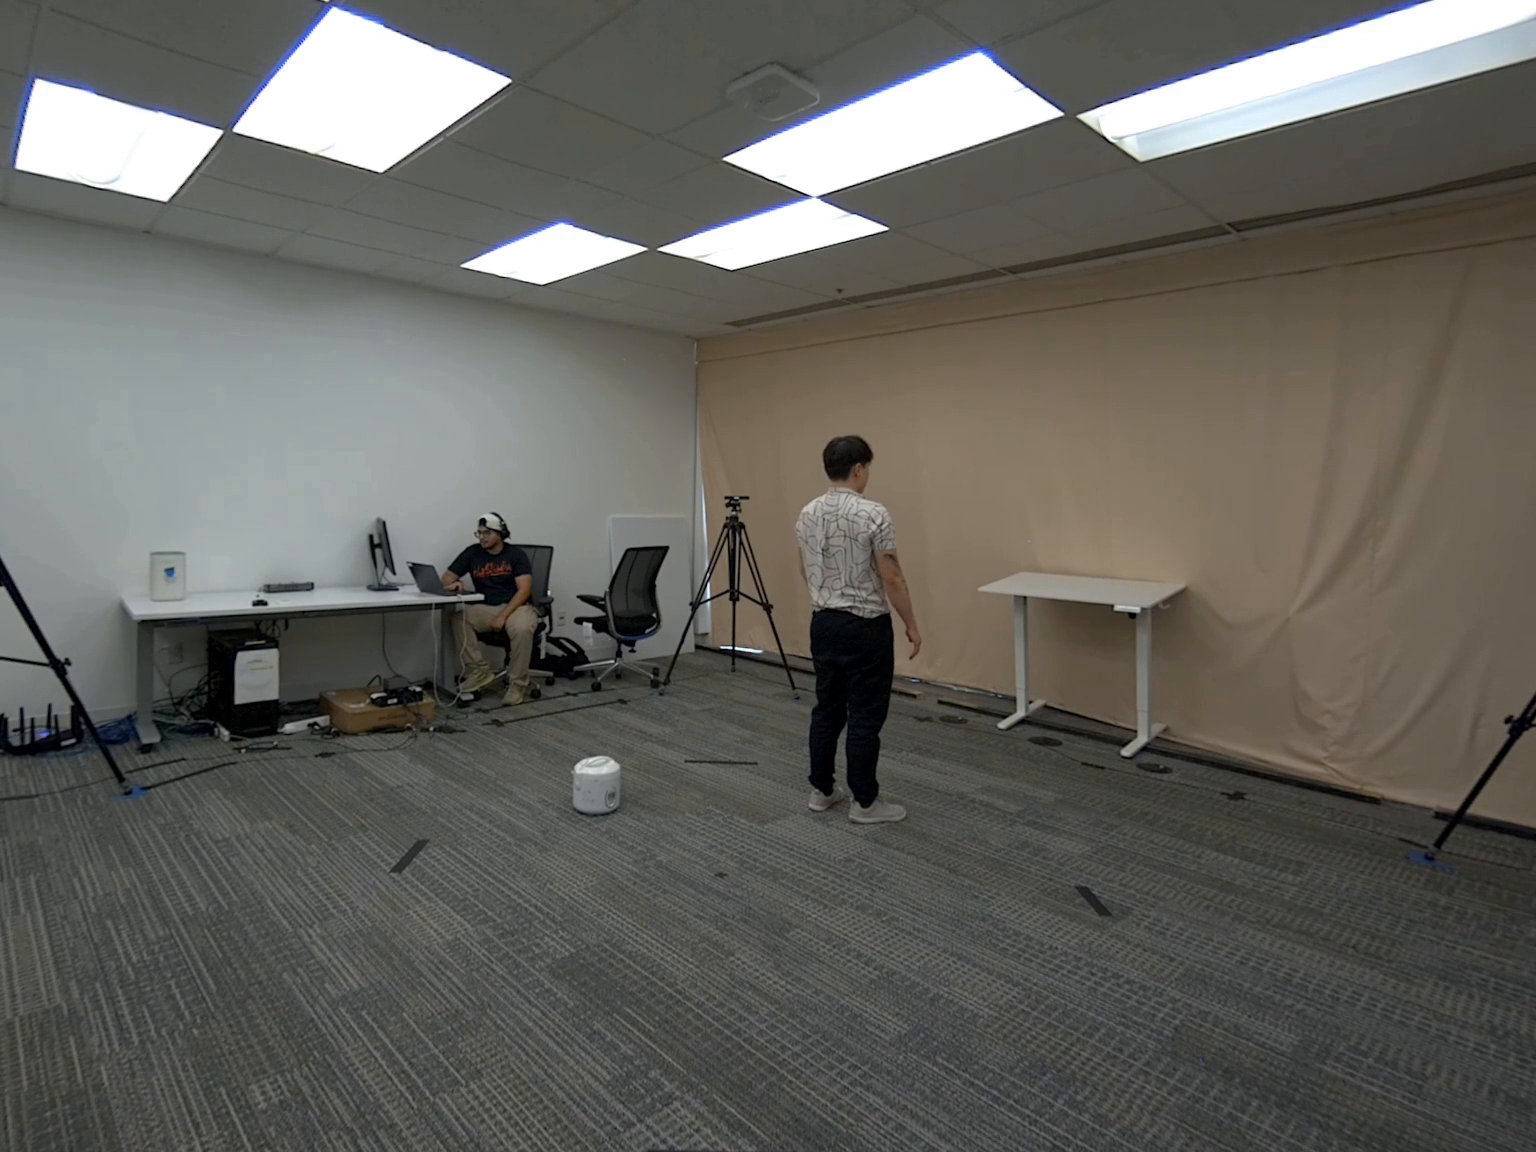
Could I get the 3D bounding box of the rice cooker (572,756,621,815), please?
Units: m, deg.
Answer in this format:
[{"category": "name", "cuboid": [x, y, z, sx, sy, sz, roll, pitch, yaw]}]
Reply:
[{"category": "rice cooker", "cuboid": [-0.763, 0.915, 3.731, 0.223, 0.232, 0.215, 5, 5, 43]}]
